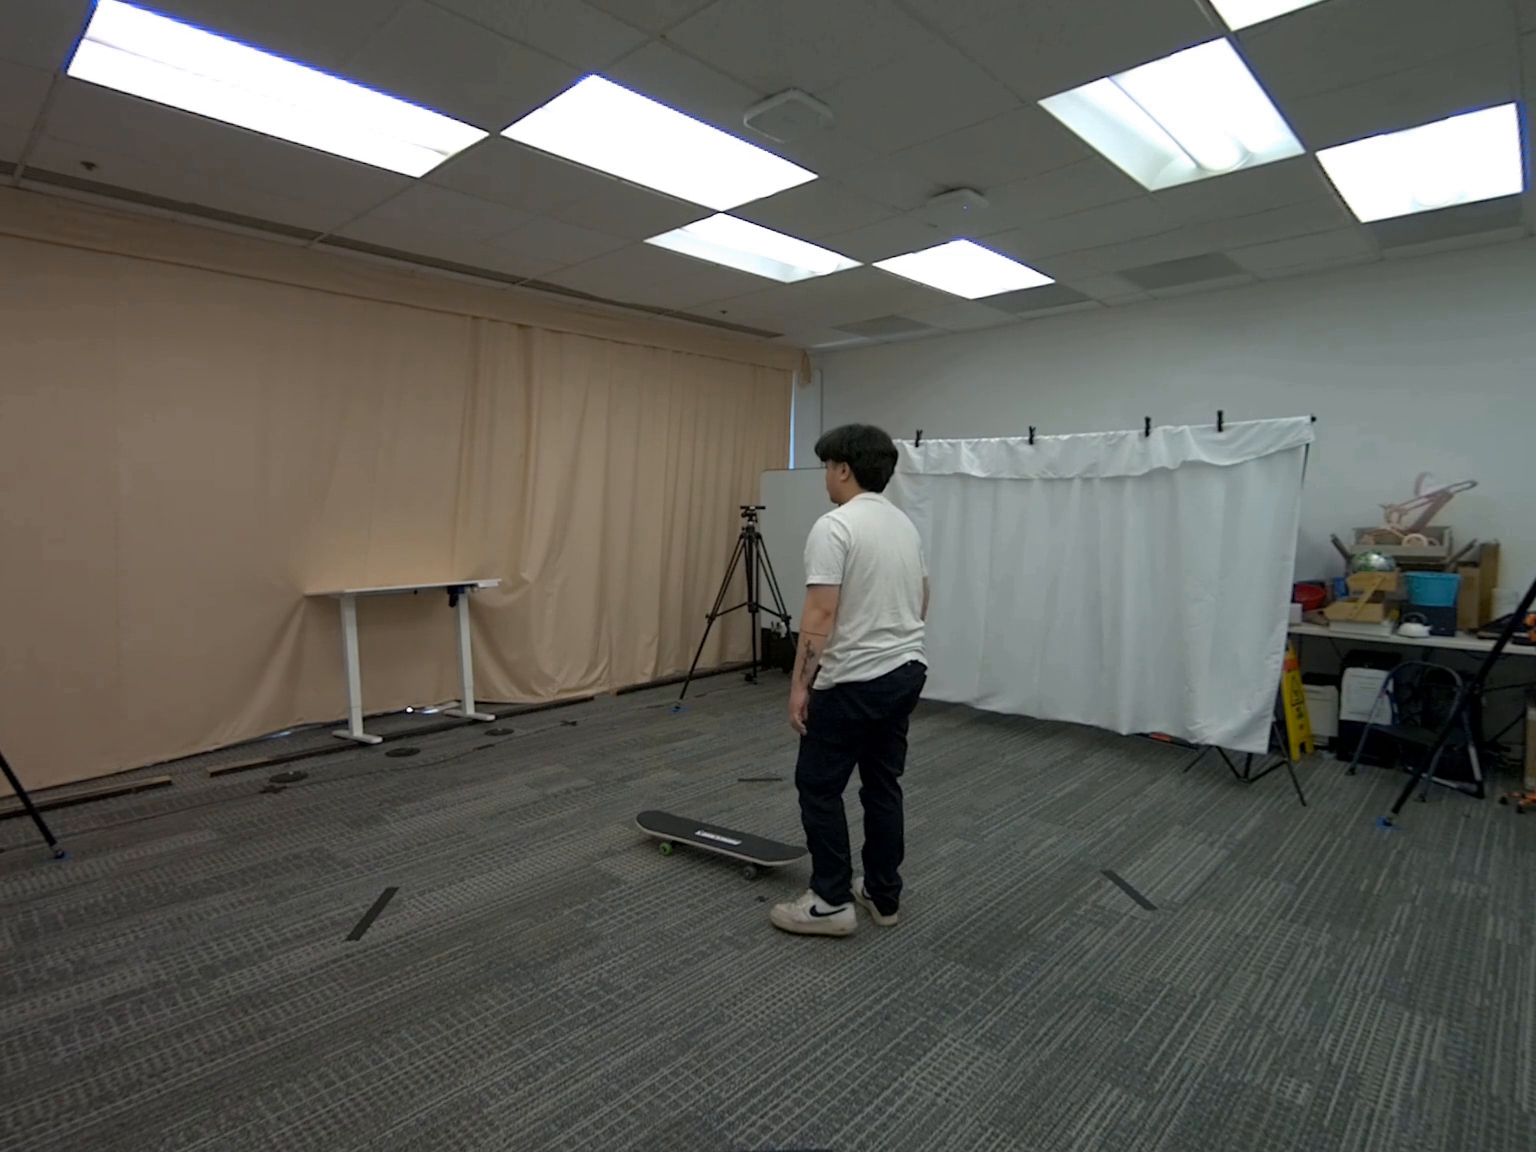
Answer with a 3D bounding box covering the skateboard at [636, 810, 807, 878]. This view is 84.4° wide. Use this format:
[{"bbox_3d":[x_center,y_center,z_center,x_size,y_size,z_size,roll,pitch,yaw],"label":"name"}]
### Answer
[{"bbox_3d":[-0.194,1.060,3.318,0.809,0.110,0.188,3,5,33],"label":"skateboard"}]
